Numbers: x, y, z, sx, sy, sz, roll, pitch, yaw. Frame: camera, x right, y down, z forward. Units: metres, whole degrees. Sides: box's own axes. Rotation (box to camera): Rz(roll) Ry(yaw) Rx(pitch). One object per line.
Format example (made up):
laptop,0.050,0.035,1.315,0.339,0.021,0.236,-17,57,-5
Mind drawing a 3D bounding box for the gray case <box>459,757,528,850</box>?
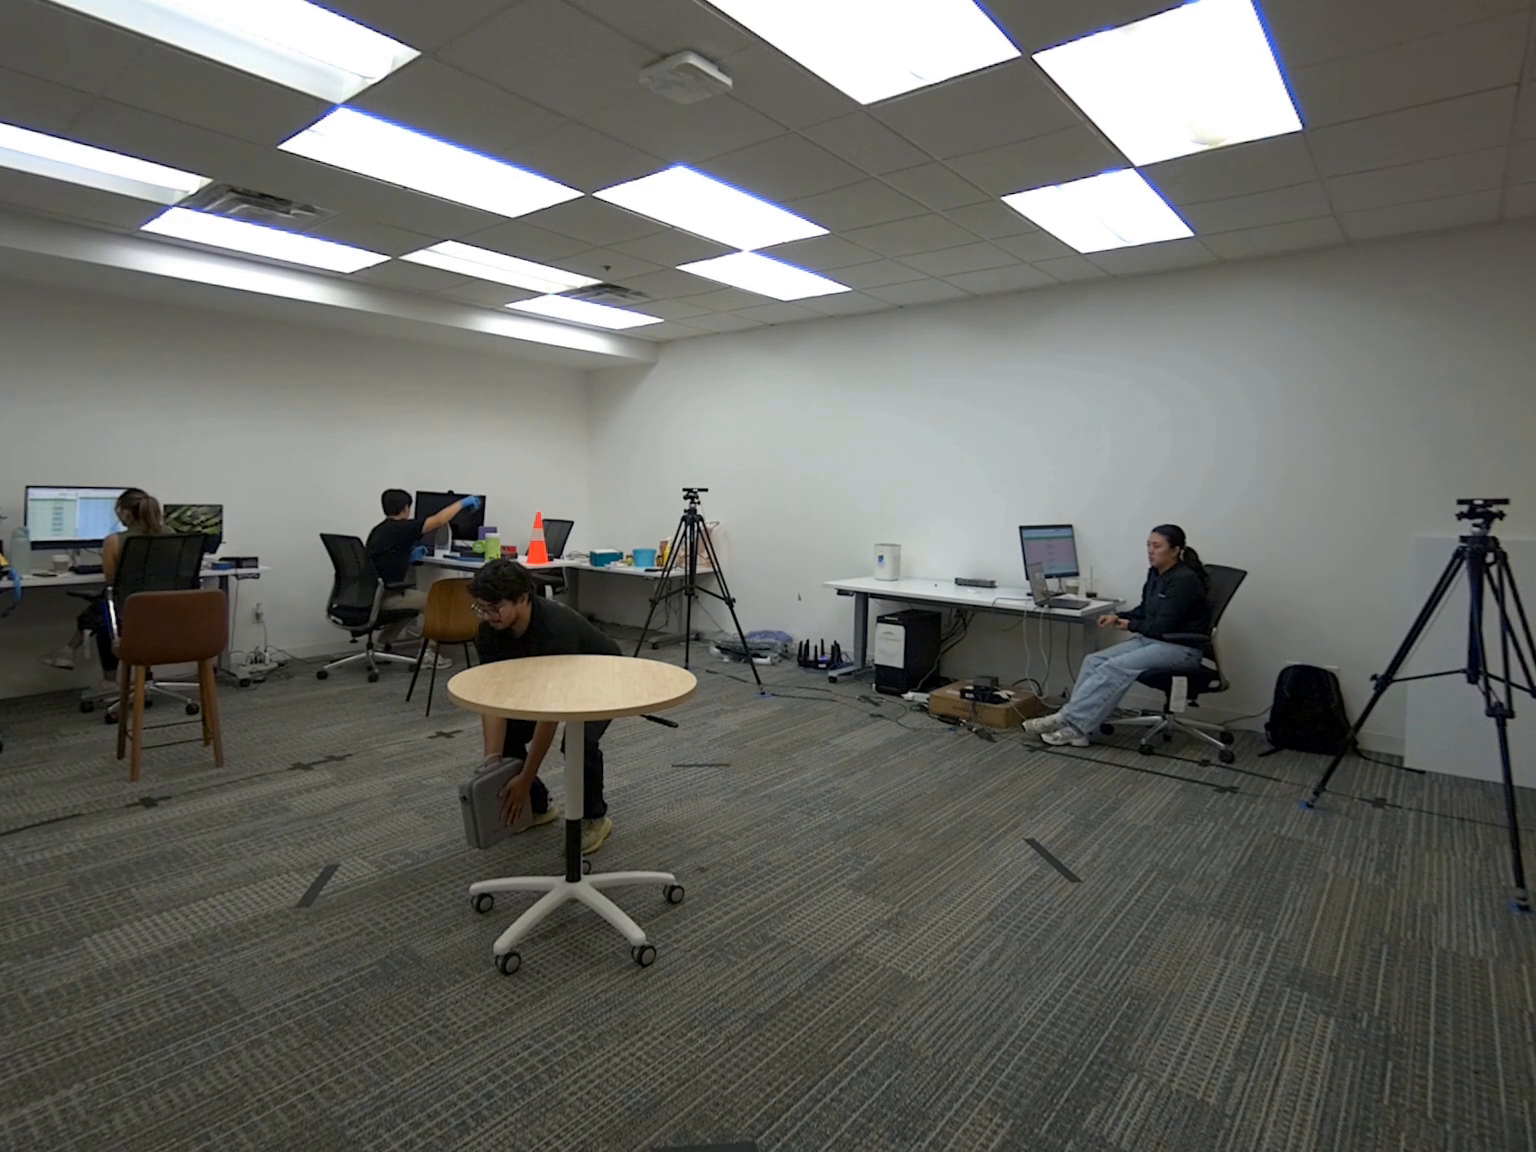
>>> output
gray case,-0.996,0.810,3.058,0.107,0.259,0.252,-5,5,28
